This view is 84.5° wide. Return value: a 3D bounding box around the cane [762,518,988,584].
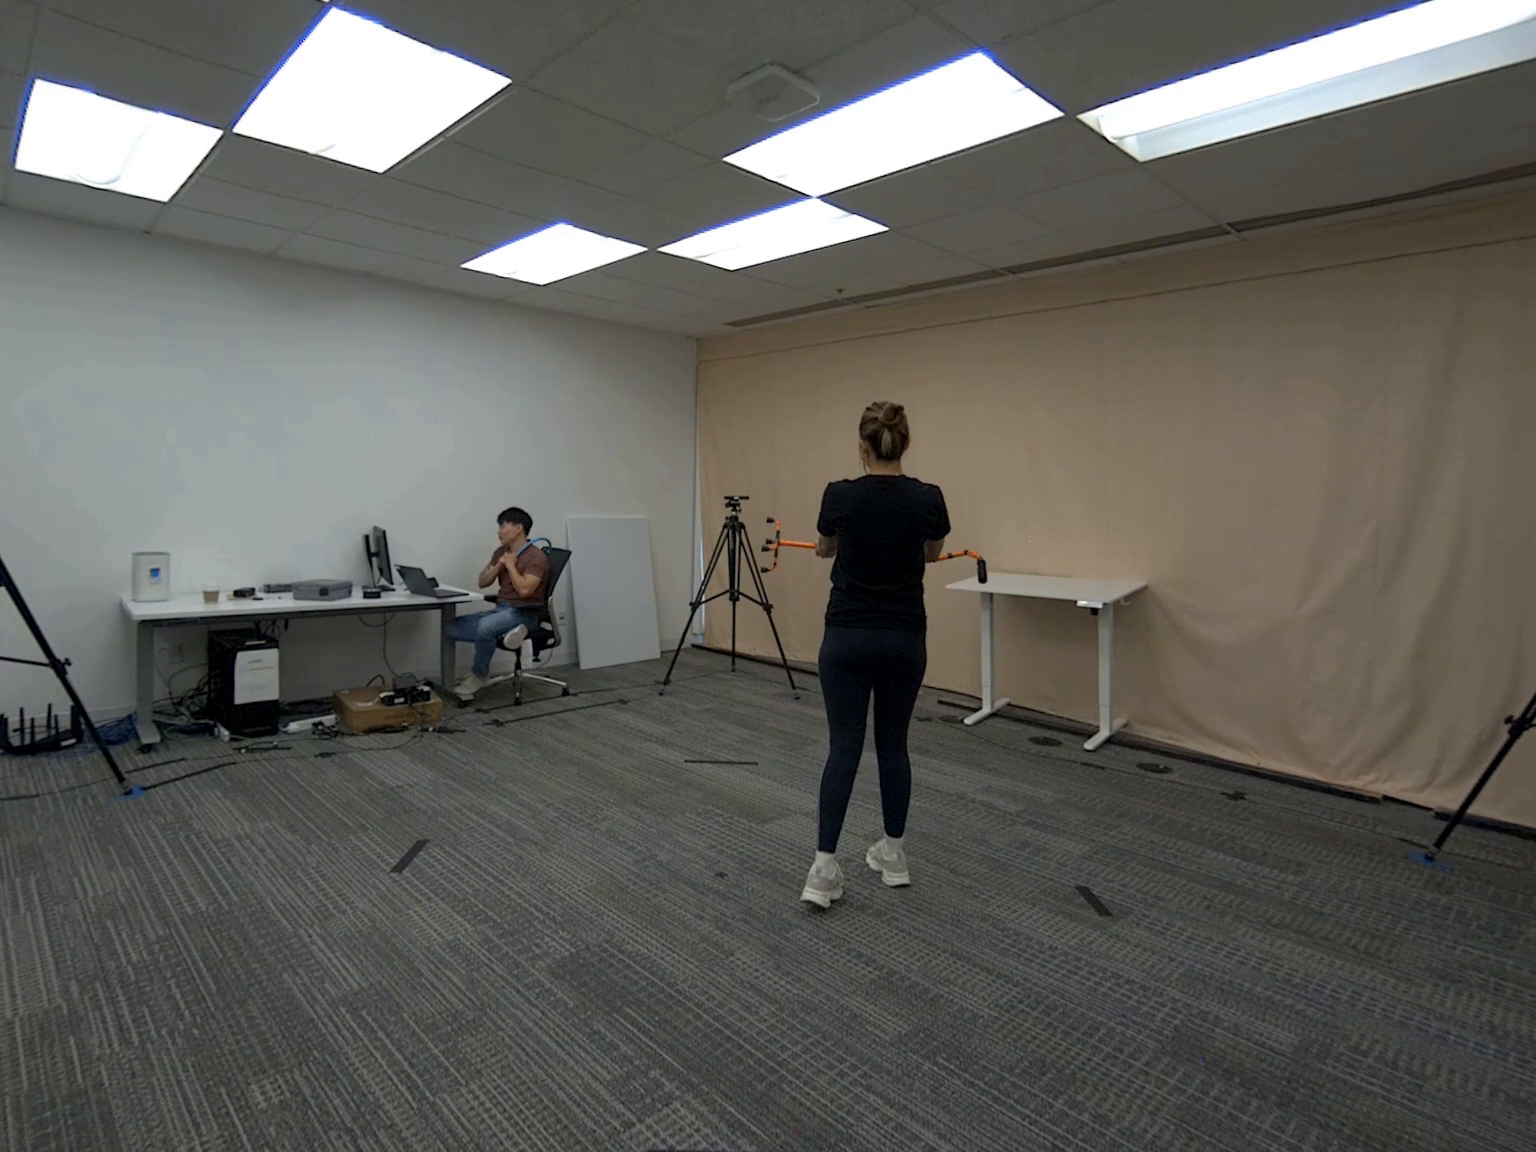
[{"bbox_3d":[0.434,-0.080,3.485,0.911,0.148,0.210,6,46,4],"label":"cane"}]
